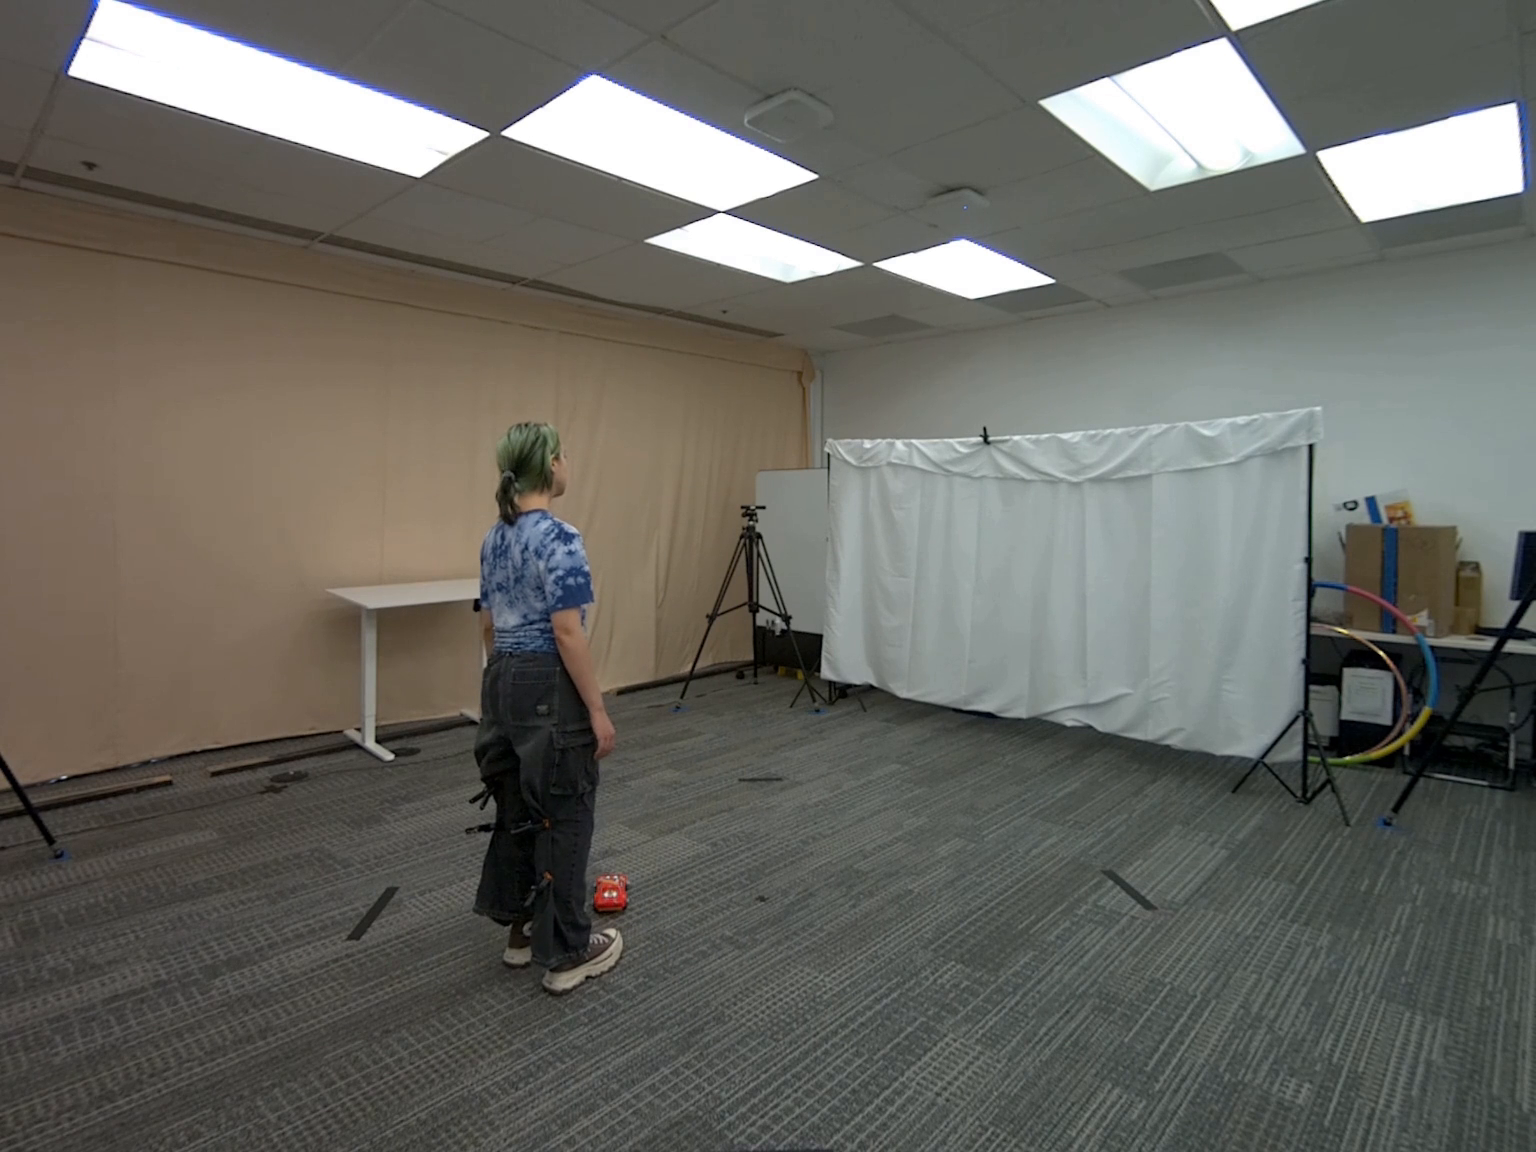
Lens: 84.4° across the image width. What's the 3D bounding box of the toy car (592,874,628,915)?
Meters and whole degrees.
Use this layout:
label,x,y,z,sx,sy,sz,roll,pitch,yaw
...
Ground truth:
label,x,y,z,sx,sy,sz,roll,pitch,yaw
toy car,-0.555,1.119,2.961,0.129,0.083,0.255,1,-7,-7
